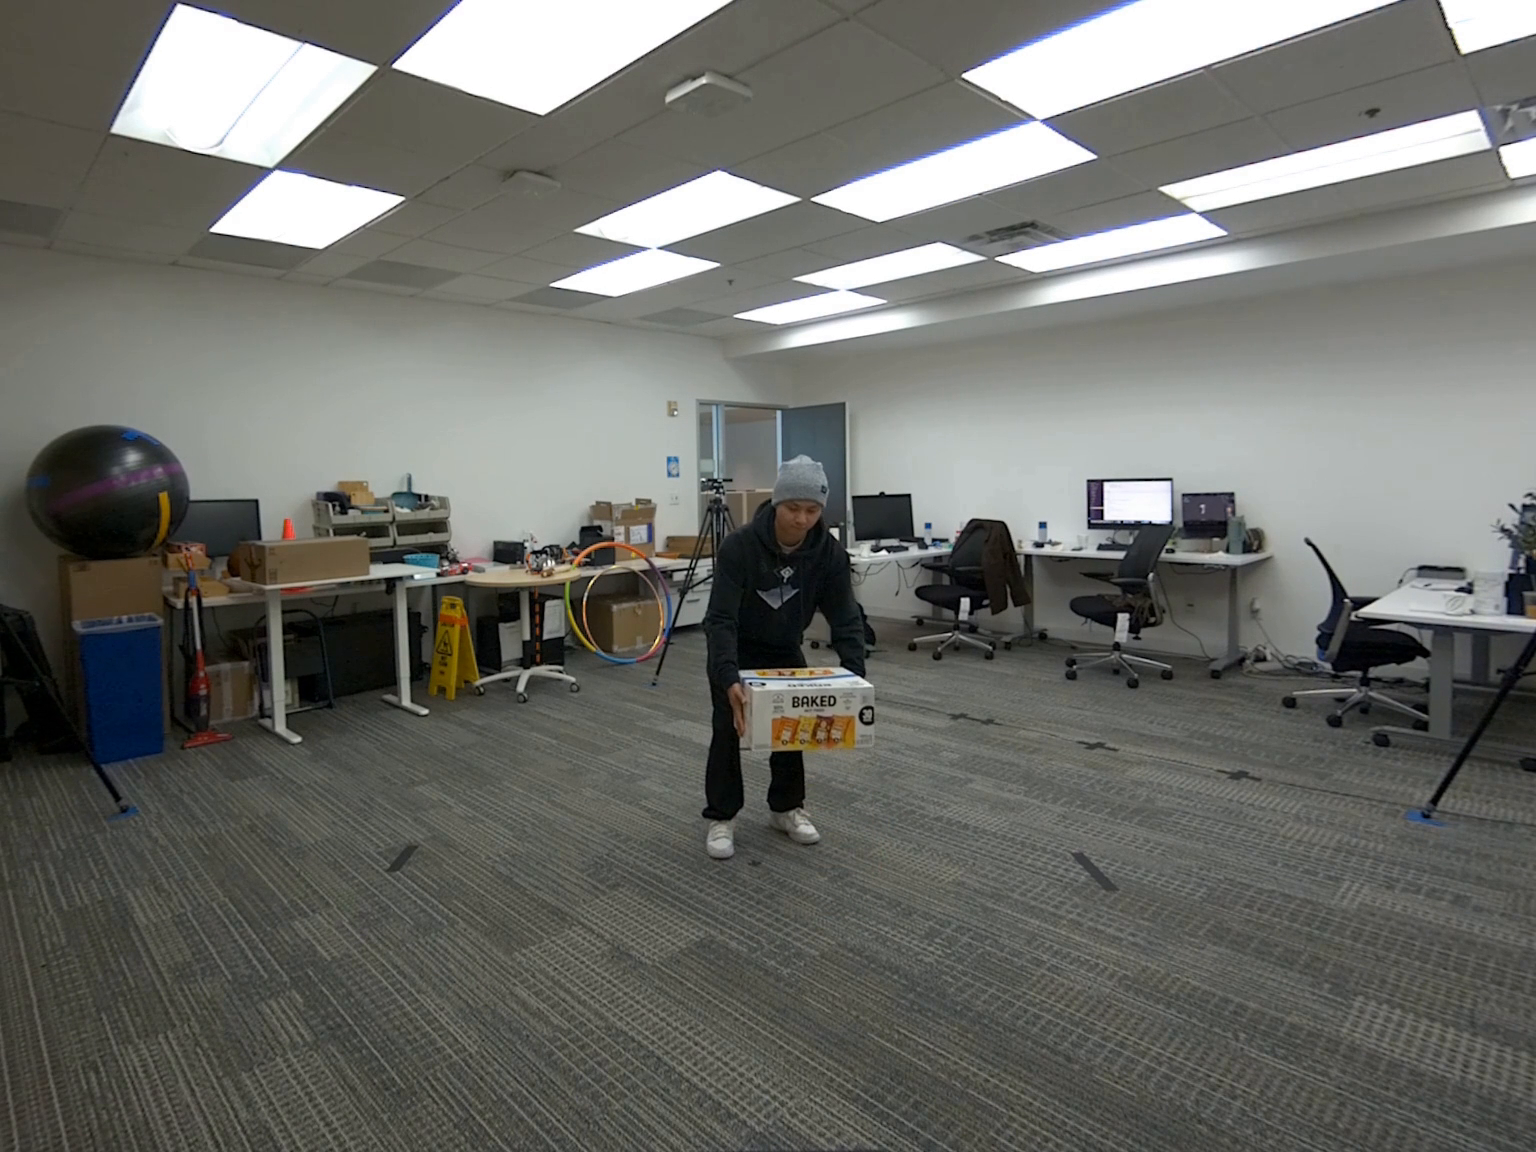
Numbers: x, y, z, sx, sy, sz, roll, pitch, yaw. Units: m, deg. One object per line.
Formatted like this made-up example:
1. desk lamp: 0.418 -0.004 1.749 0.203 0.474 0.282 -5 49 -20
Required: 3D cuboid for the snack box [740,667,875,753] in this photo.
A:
1. snack box: 0.111 0.447 2.899 0.401 0.205 0.344 -1 3 -11
